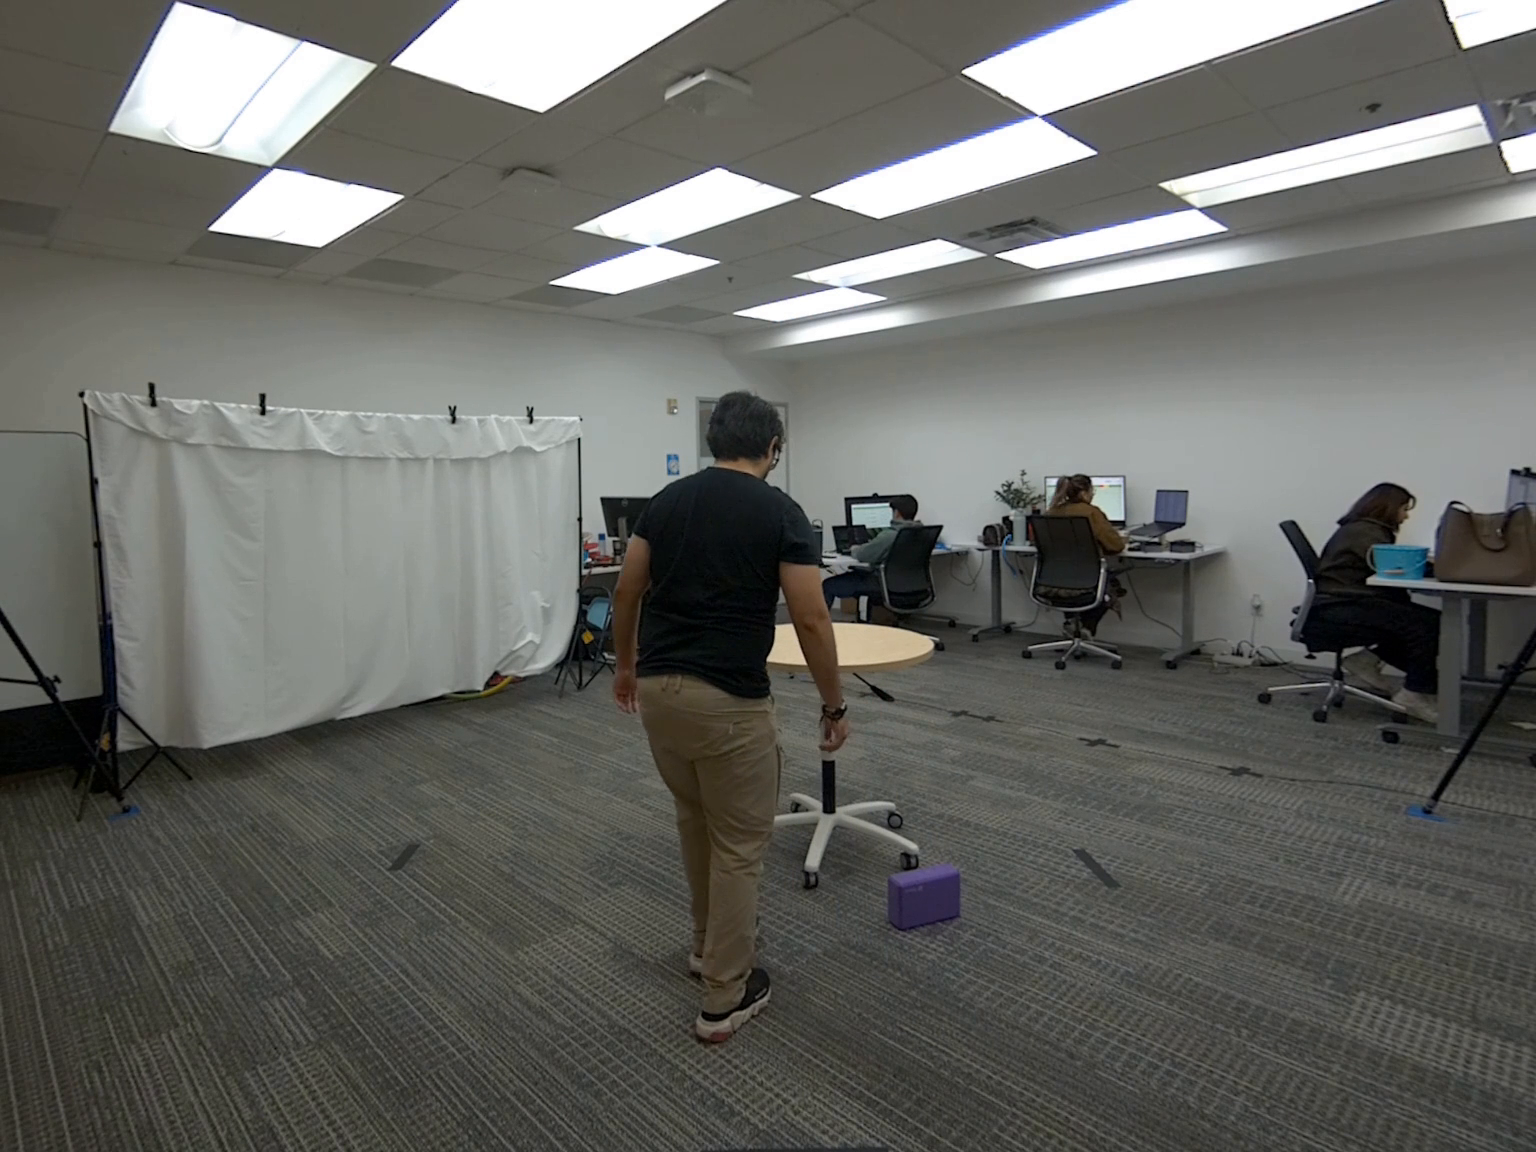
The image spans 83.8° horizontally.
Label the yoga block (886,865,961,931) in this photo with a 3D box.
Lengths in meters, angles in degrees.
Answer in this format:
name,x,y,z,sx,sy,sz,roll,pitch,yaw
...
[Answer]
name,x,y,z,sx,sy,sz,roll,pitch,yaw
yoga block,0.495,1.000,2.674,0.225,0.148,0.078,-3,3,-22
